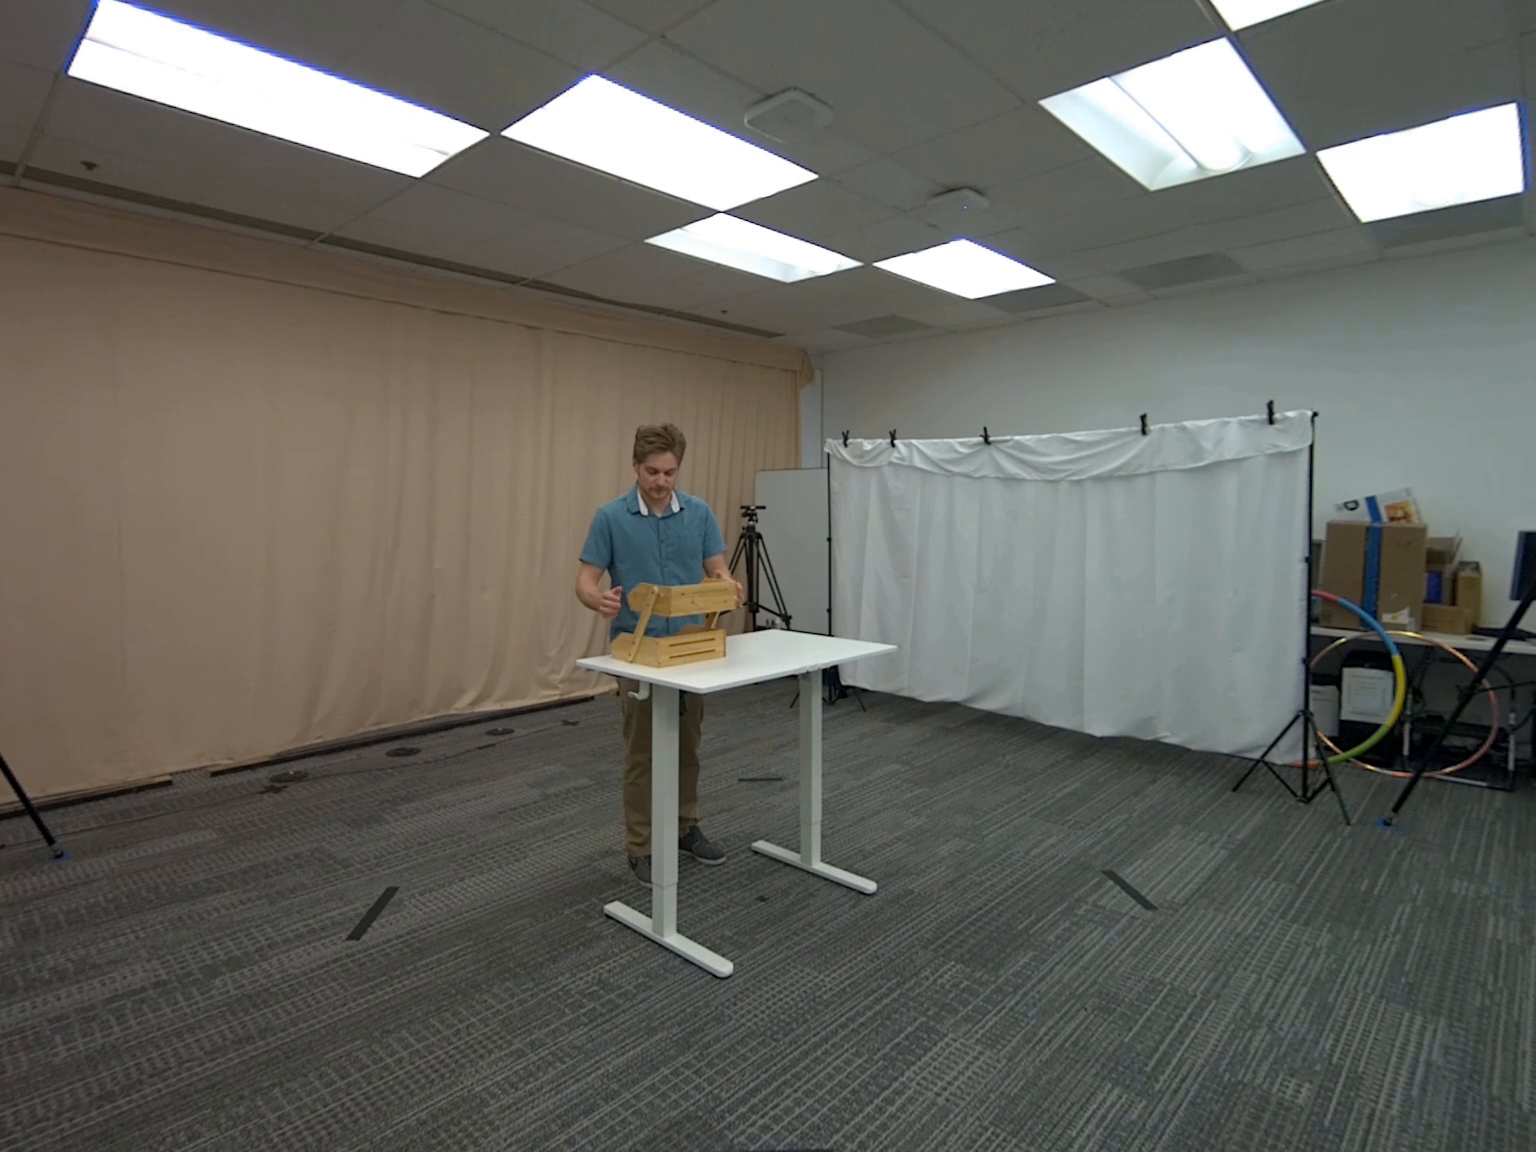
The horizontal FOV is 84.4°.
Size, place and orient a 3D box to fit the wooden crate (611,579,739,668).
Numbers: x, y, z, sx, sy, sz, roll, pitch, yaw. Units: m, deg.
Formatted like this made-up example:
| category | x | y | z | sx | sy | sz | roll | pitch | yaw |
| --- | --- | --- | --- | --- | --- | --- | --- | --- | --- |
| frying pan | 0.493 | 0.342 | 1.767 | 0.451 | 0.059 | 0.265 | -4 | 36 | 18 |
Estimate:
| category | x | y | z | sx | sy | sz | roll | pitch | yaw |
| --- | --- | --- | --- | --- | --- | --- | --- | --- | --- |
| wooden crate | -0.314 | 0.144 | 2.802 | 0.312 | 0.273 | 0.314 | 4 | 5 | 44 |
